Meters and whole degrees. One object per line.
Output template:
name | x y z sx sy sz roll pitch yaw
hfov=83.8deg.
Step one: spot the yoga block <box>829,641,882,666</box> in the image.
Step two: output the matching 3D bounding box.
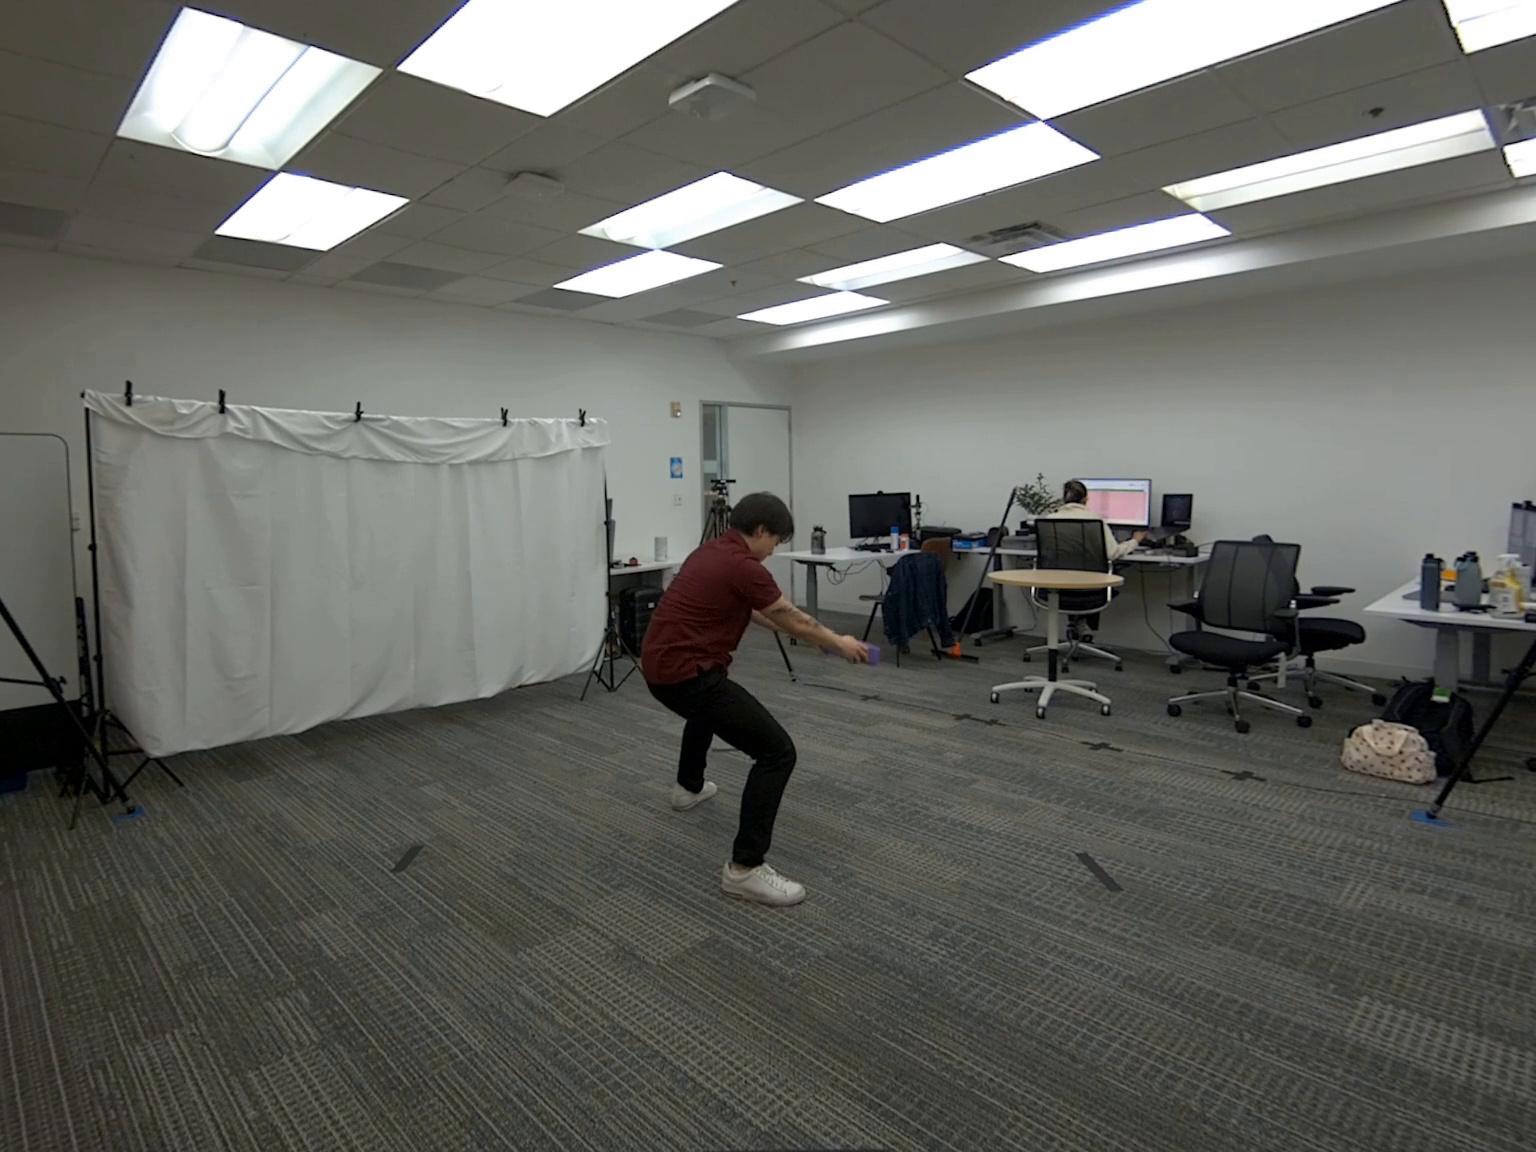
yoga block | 0.340 0.289 3.468 0.146 0.076 0.234 11 2 -19
